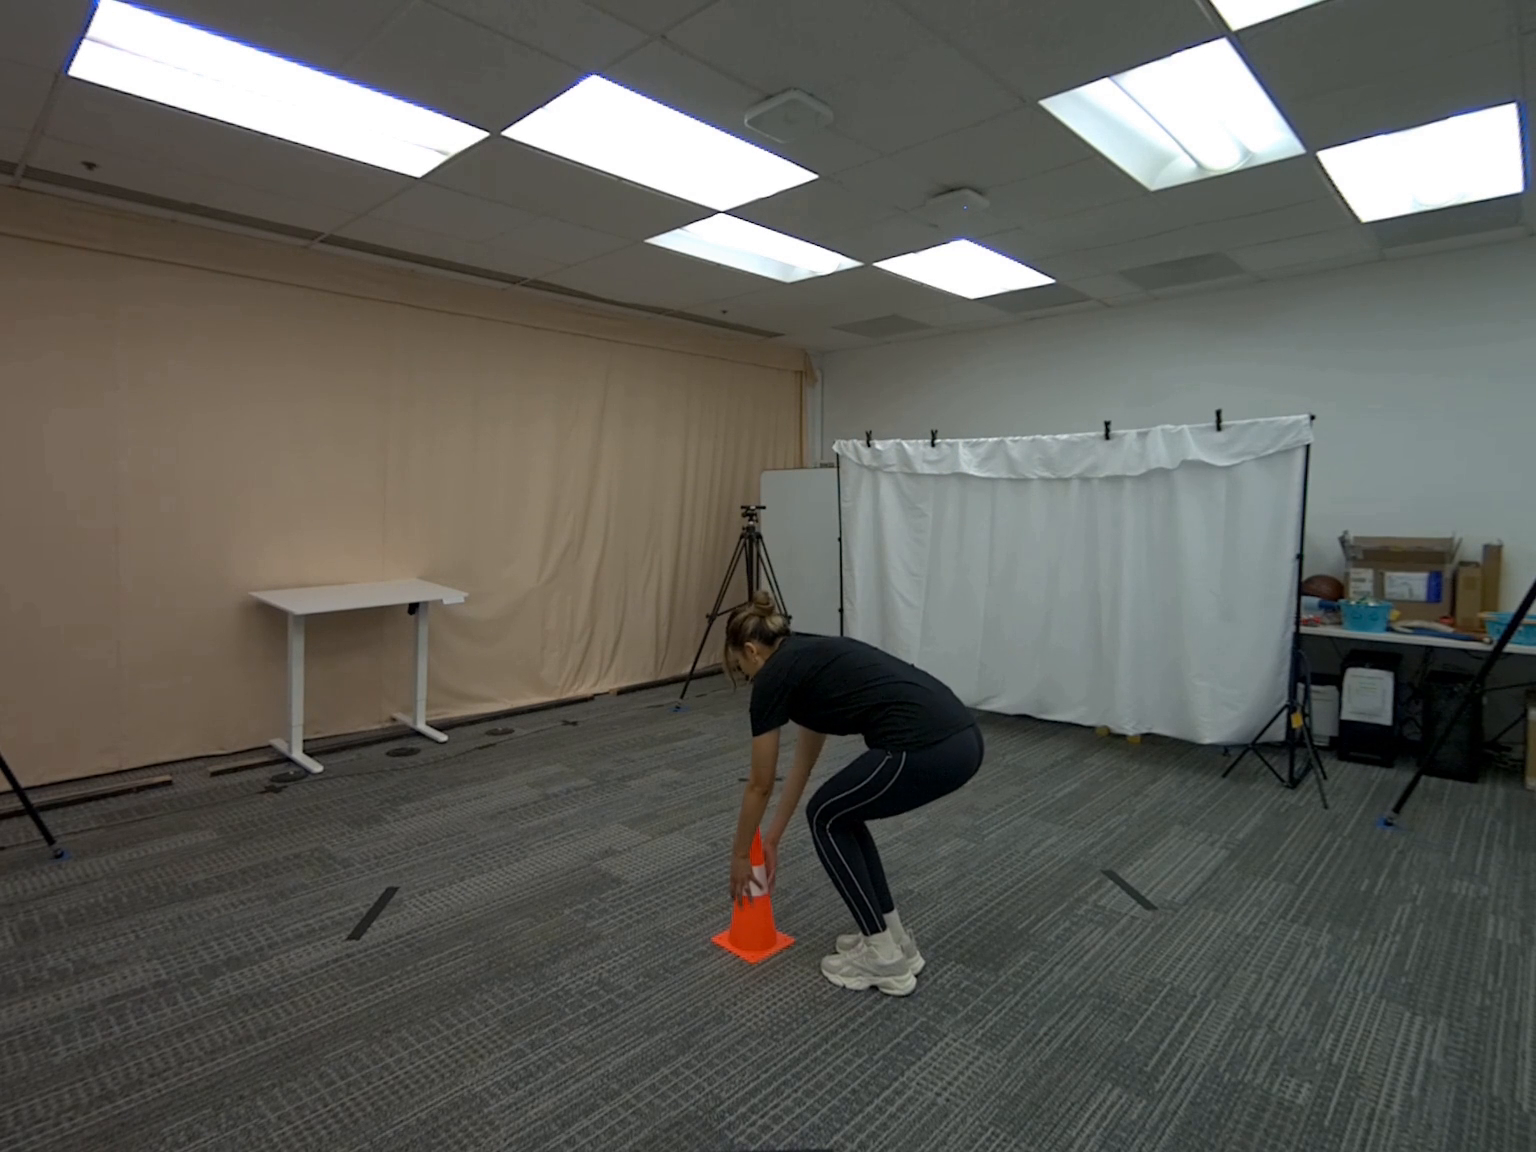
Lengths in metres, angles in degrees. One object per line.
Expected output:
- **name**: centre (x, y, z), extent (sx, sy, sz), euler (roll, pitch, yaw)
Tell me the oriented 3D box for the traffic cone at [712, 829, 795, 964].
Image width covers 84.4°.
- **traffic cone**: centre (-0.043, 0.986, 2.685), extent (0.198, 0.383, 0.210), euler (-1, 3, -41)
